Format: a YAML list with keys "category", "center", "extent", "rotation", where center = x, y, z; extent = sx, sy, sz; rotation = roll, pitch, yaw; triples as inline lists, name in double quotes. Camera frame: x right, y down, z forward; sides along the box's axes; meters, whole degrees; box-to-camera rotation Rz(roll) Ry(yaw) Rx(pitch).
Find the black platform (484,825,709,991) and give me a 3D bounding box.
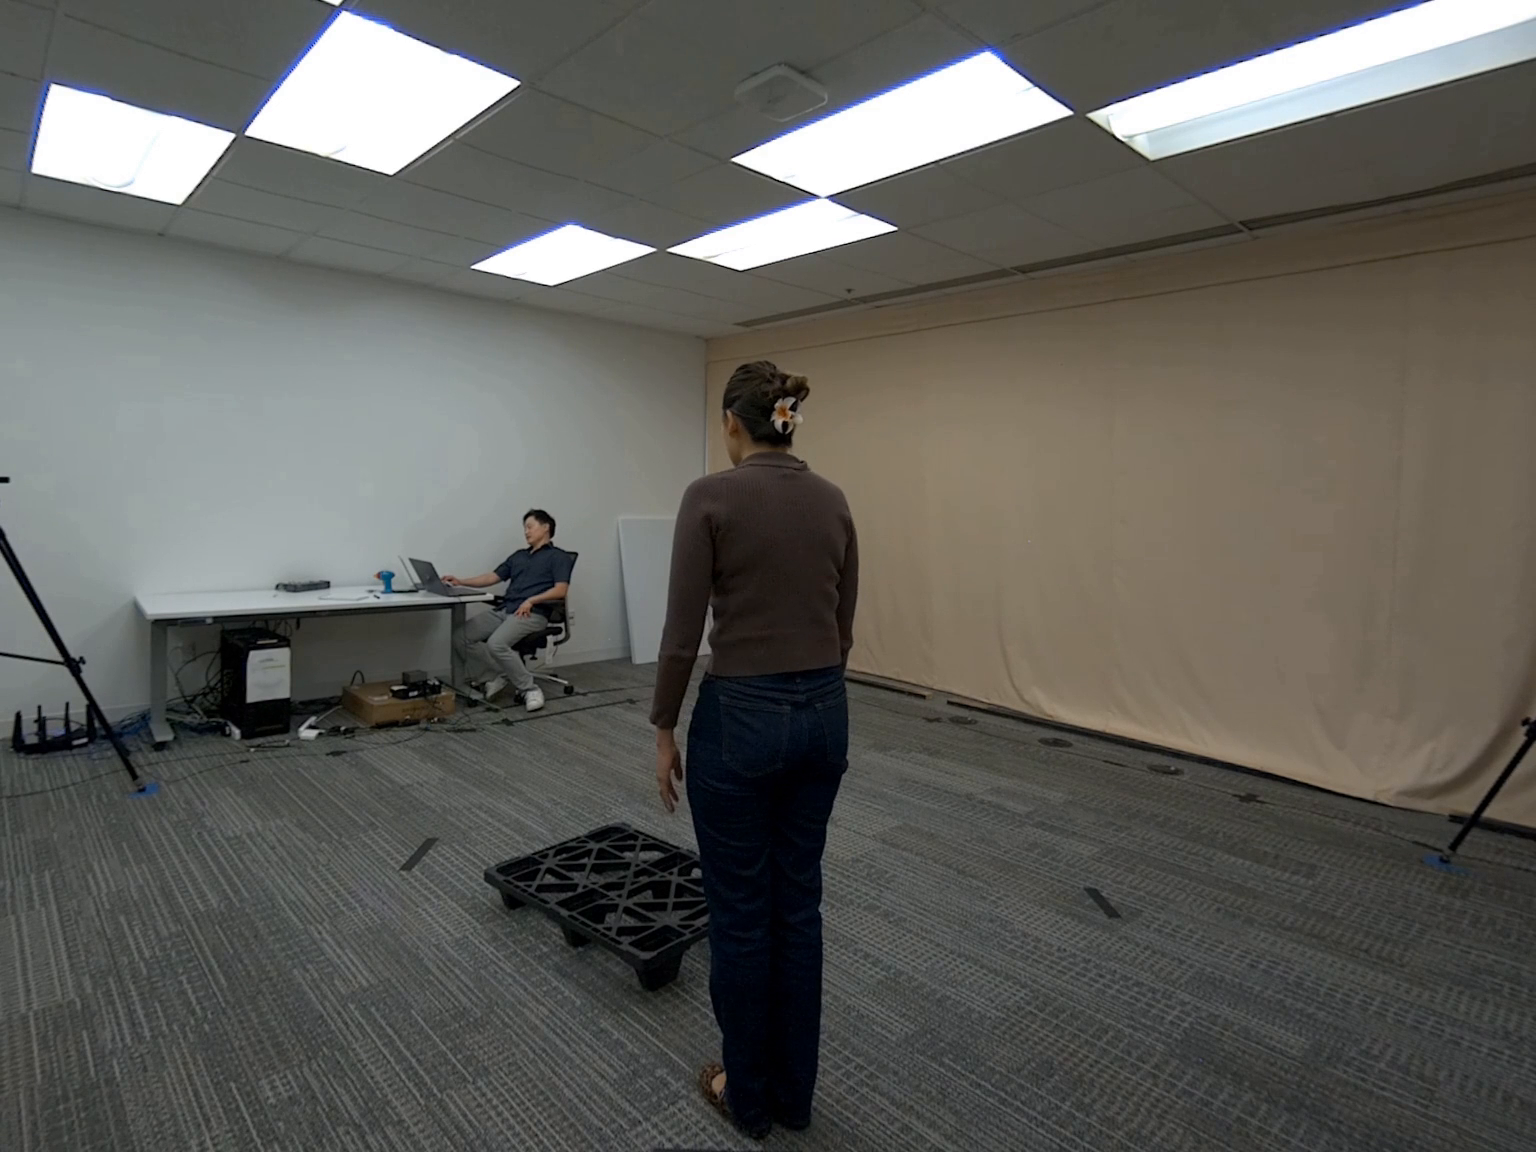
- category: "black platform"
  center: [-0.463, 1.061, 2.759]
  extent: [0.826, 0.143, 0.592]
  rotation: [5, 8, 40]
